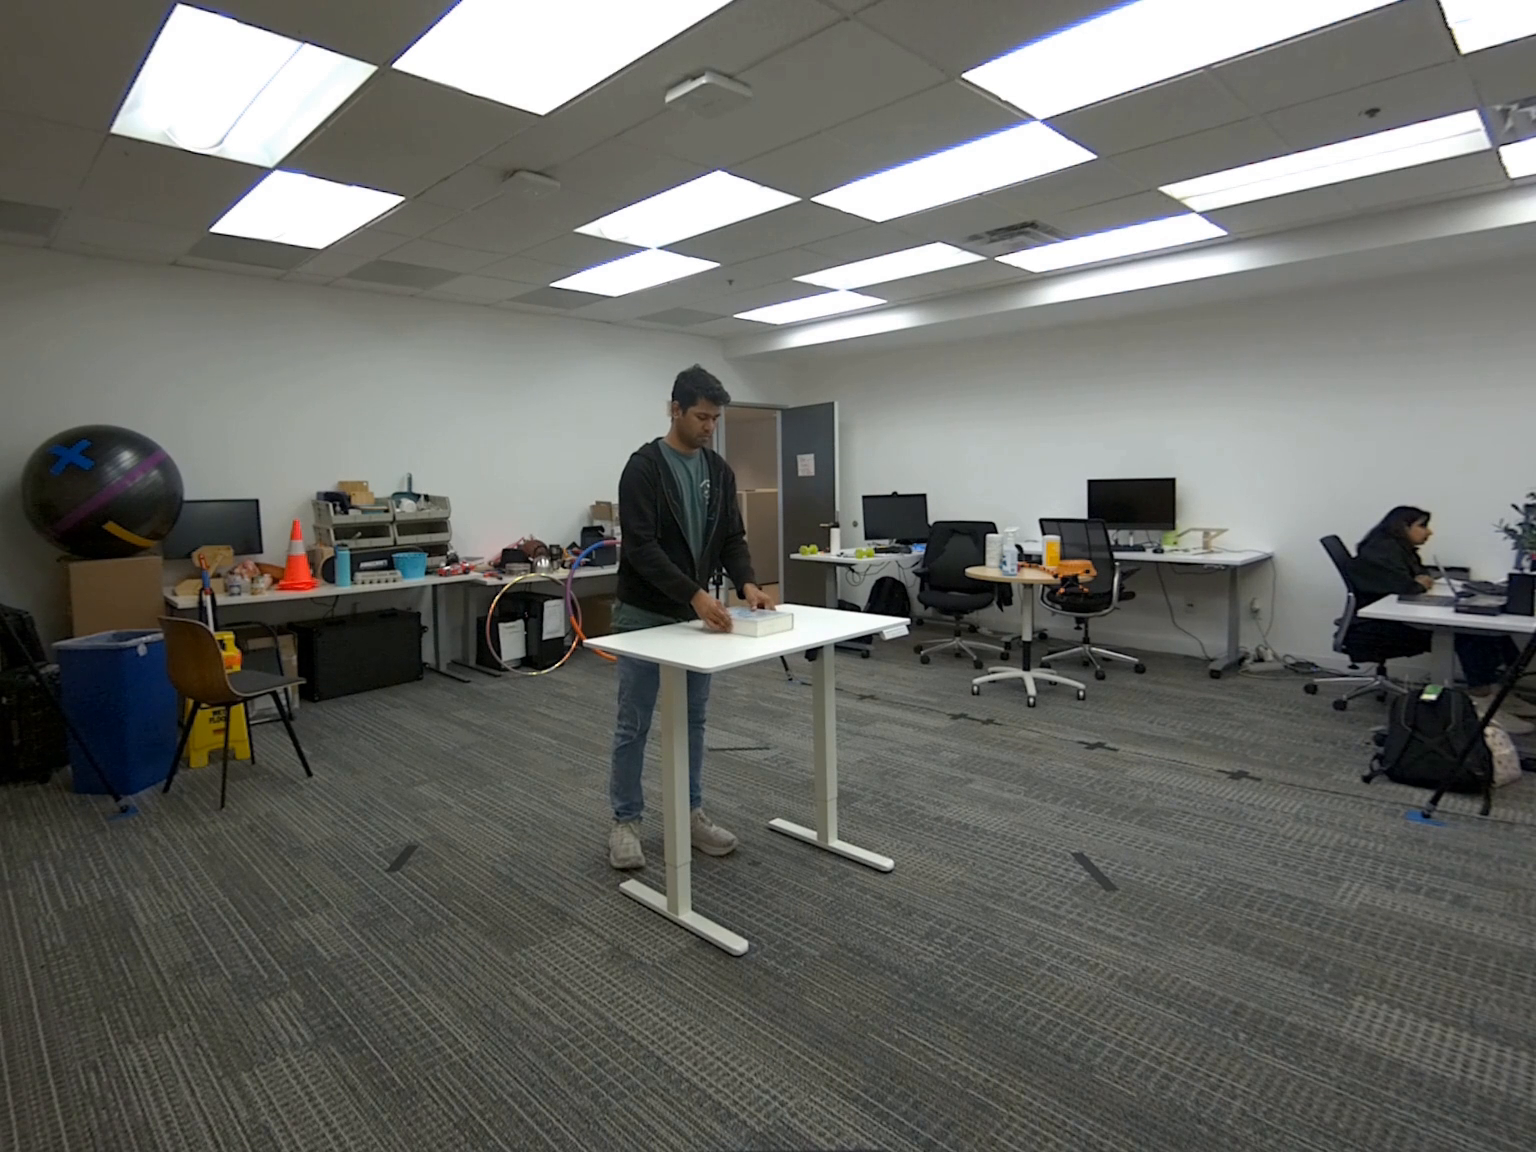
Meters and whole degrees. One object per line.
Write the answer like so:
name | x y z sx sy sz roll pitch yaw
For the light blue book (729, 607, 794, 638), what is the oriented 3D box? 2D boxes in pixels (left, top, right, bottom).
light blue book | -0.070 0.156 2.926 0.269 0.059 0.186 5 9 43
